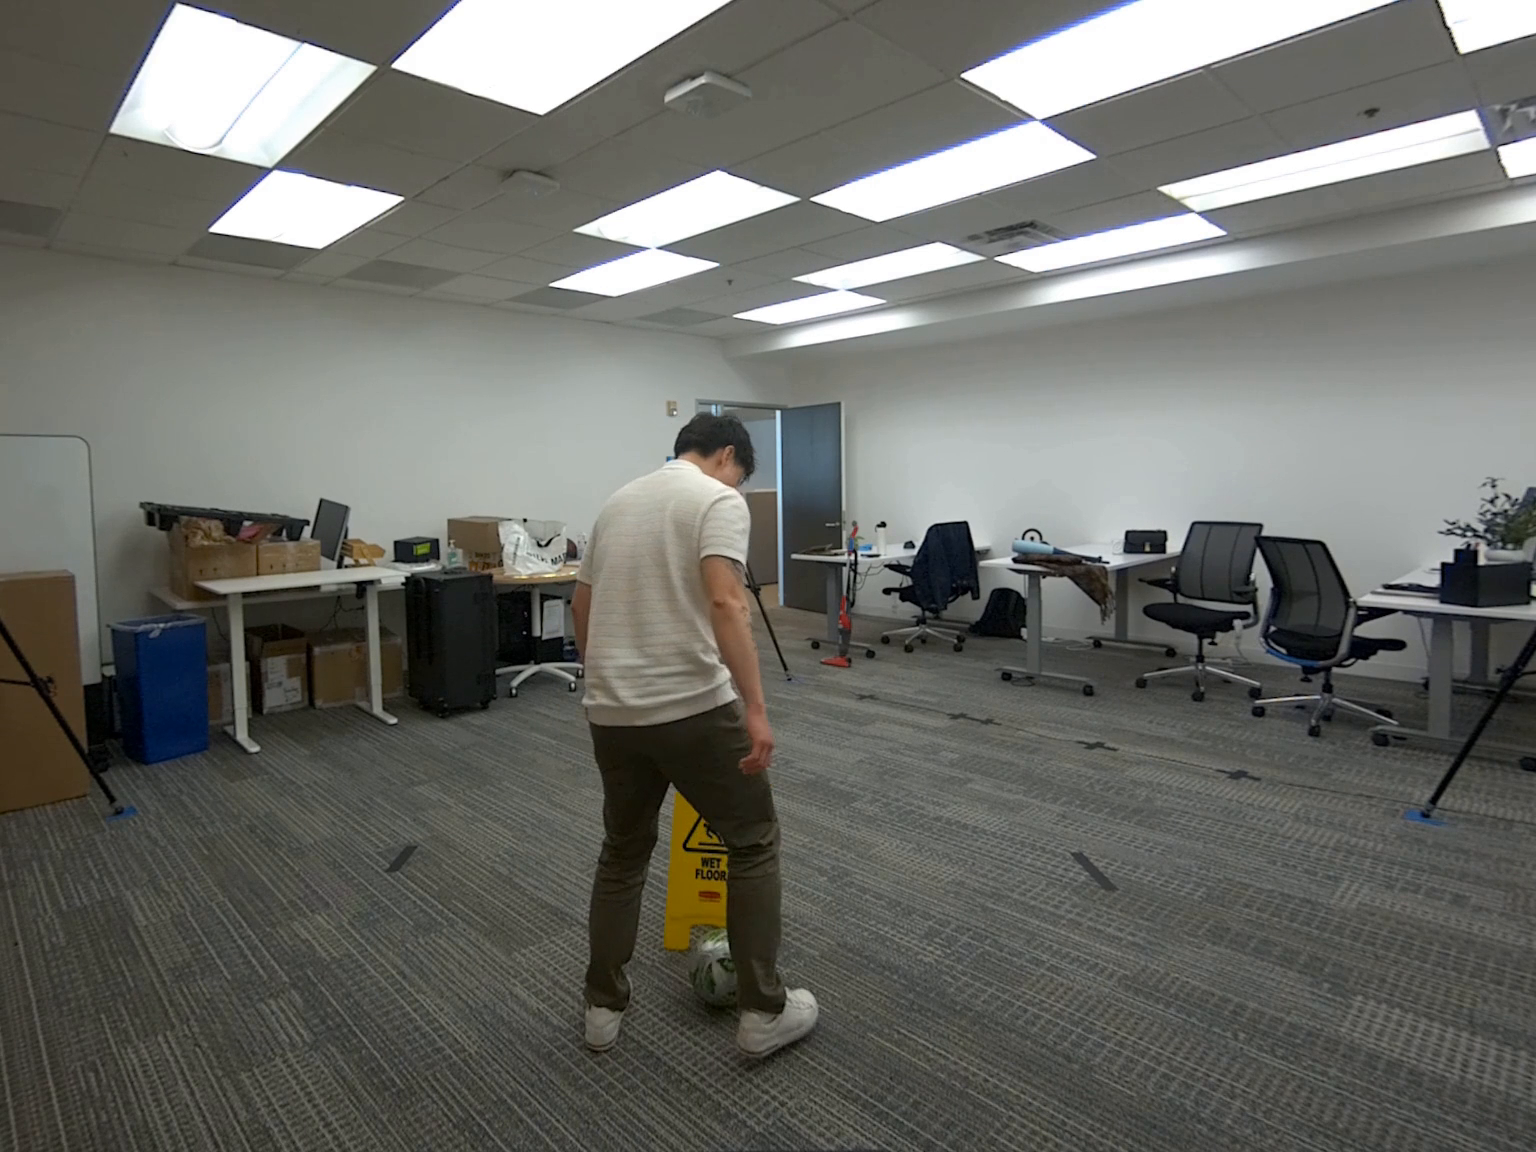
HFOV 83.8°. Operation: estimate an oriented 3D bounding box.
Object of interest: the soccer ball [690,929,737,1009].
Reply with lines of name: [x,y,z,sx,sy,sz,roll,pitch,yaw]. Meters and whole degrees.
soccer ball: [-0.117,1.053,2.291,0.187,0.187,0.188,-1,5,-2]
